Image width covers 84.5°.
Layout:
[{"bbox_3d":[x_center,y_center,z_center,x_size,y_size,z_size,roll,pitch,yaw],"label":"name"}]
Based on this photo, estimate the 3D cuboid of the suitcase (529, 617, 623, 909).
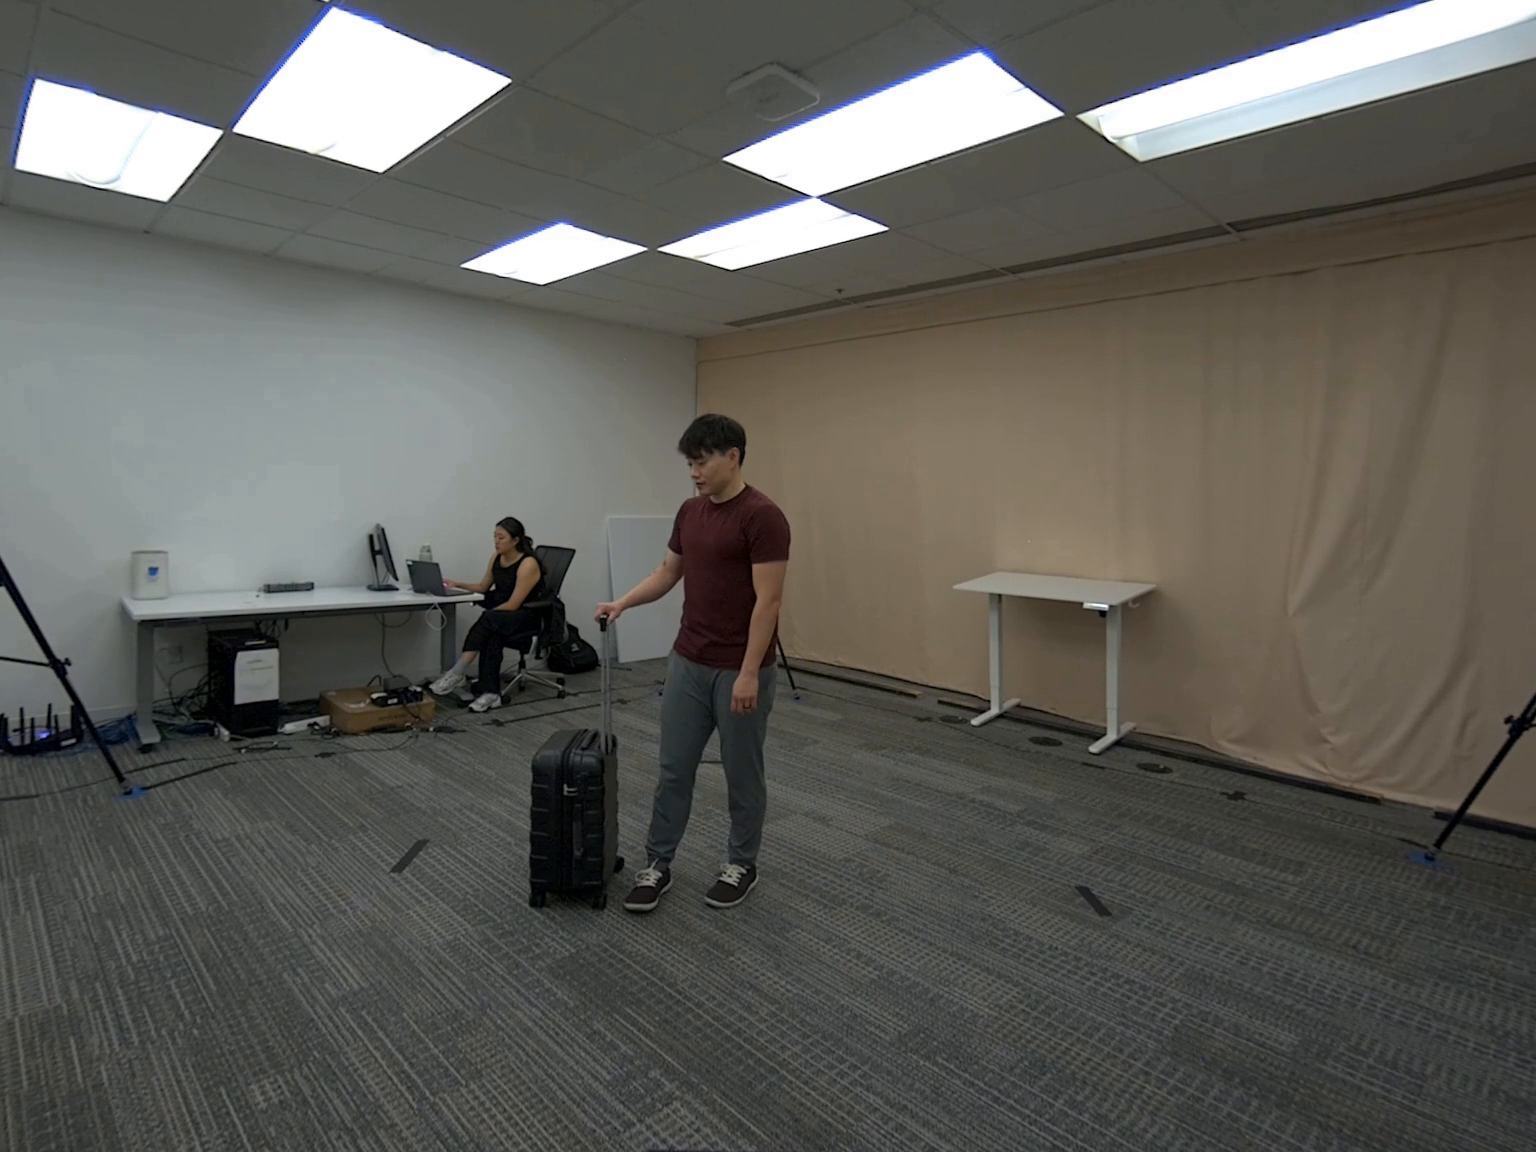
[{"bbox_3d":[-0.676,0.632,2.931,0.257,0.975,0.385,-1,5,1],"label":"suitcase"}]
